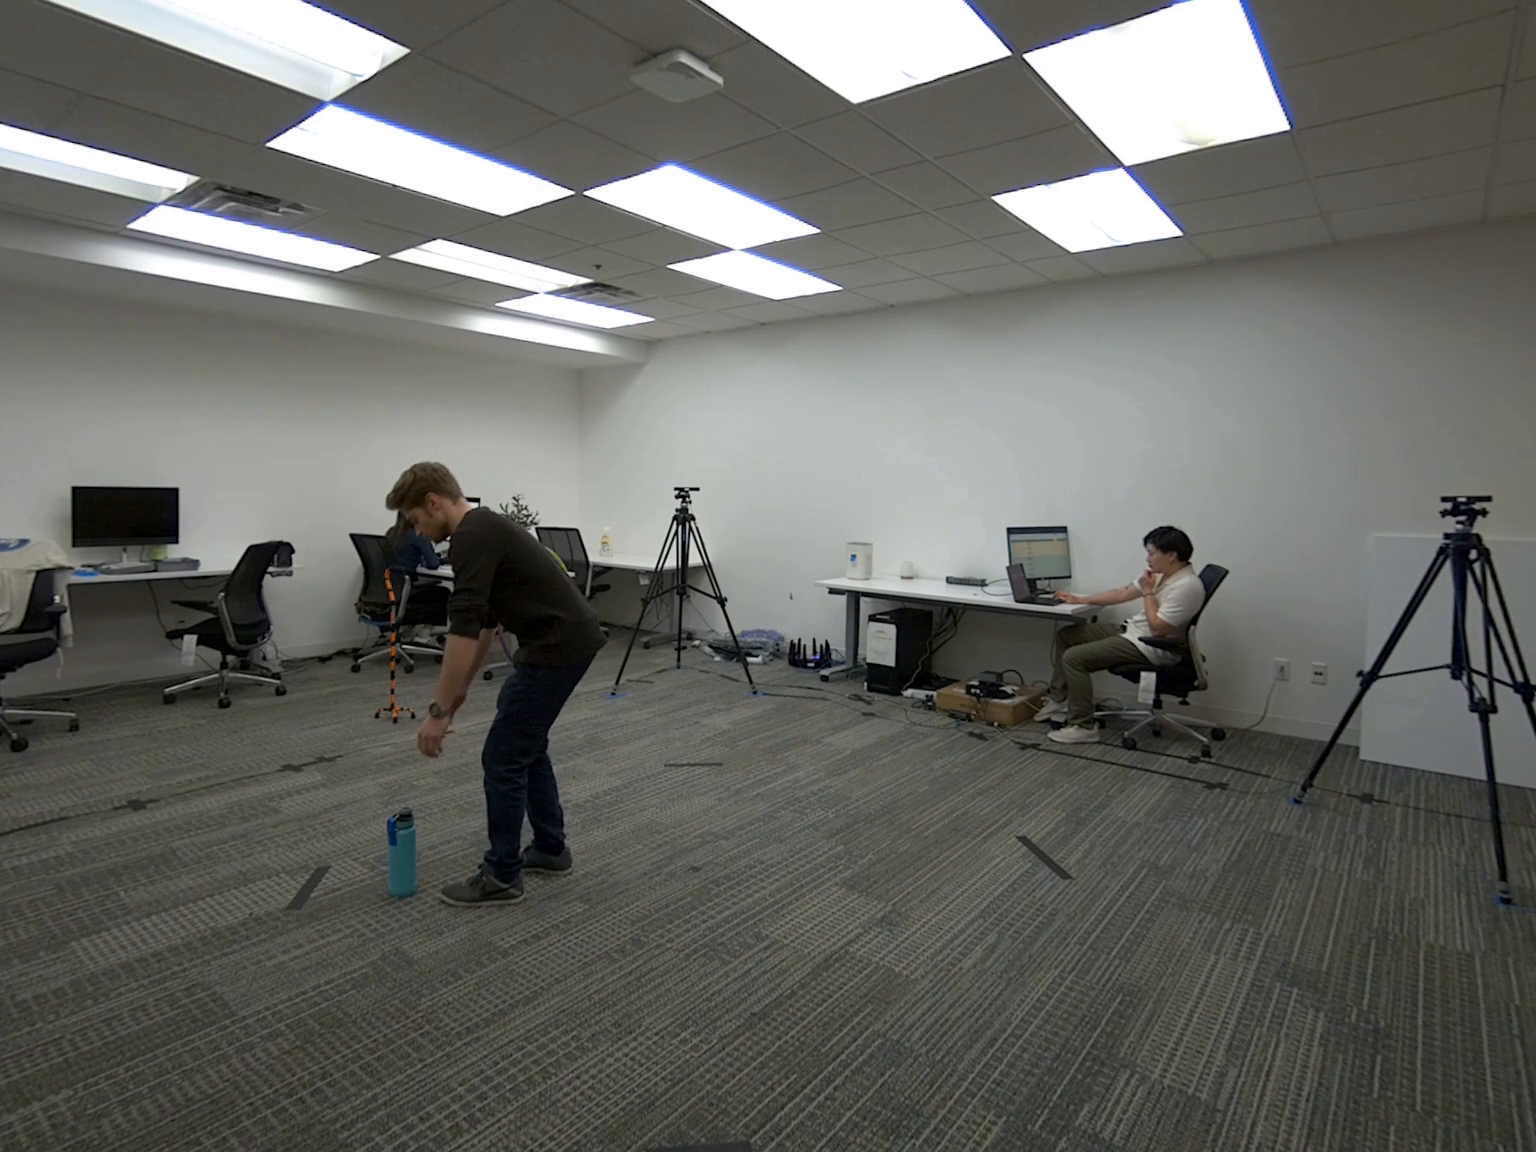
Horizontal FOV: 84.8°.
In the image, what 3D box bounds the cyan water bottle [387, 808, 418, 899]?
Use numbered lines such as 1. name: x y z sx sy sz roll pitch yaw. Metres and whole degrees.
1. cyan water bottle: -1.254 0.934 2.895 0.092 0.283 0.093 -1 3 -2
